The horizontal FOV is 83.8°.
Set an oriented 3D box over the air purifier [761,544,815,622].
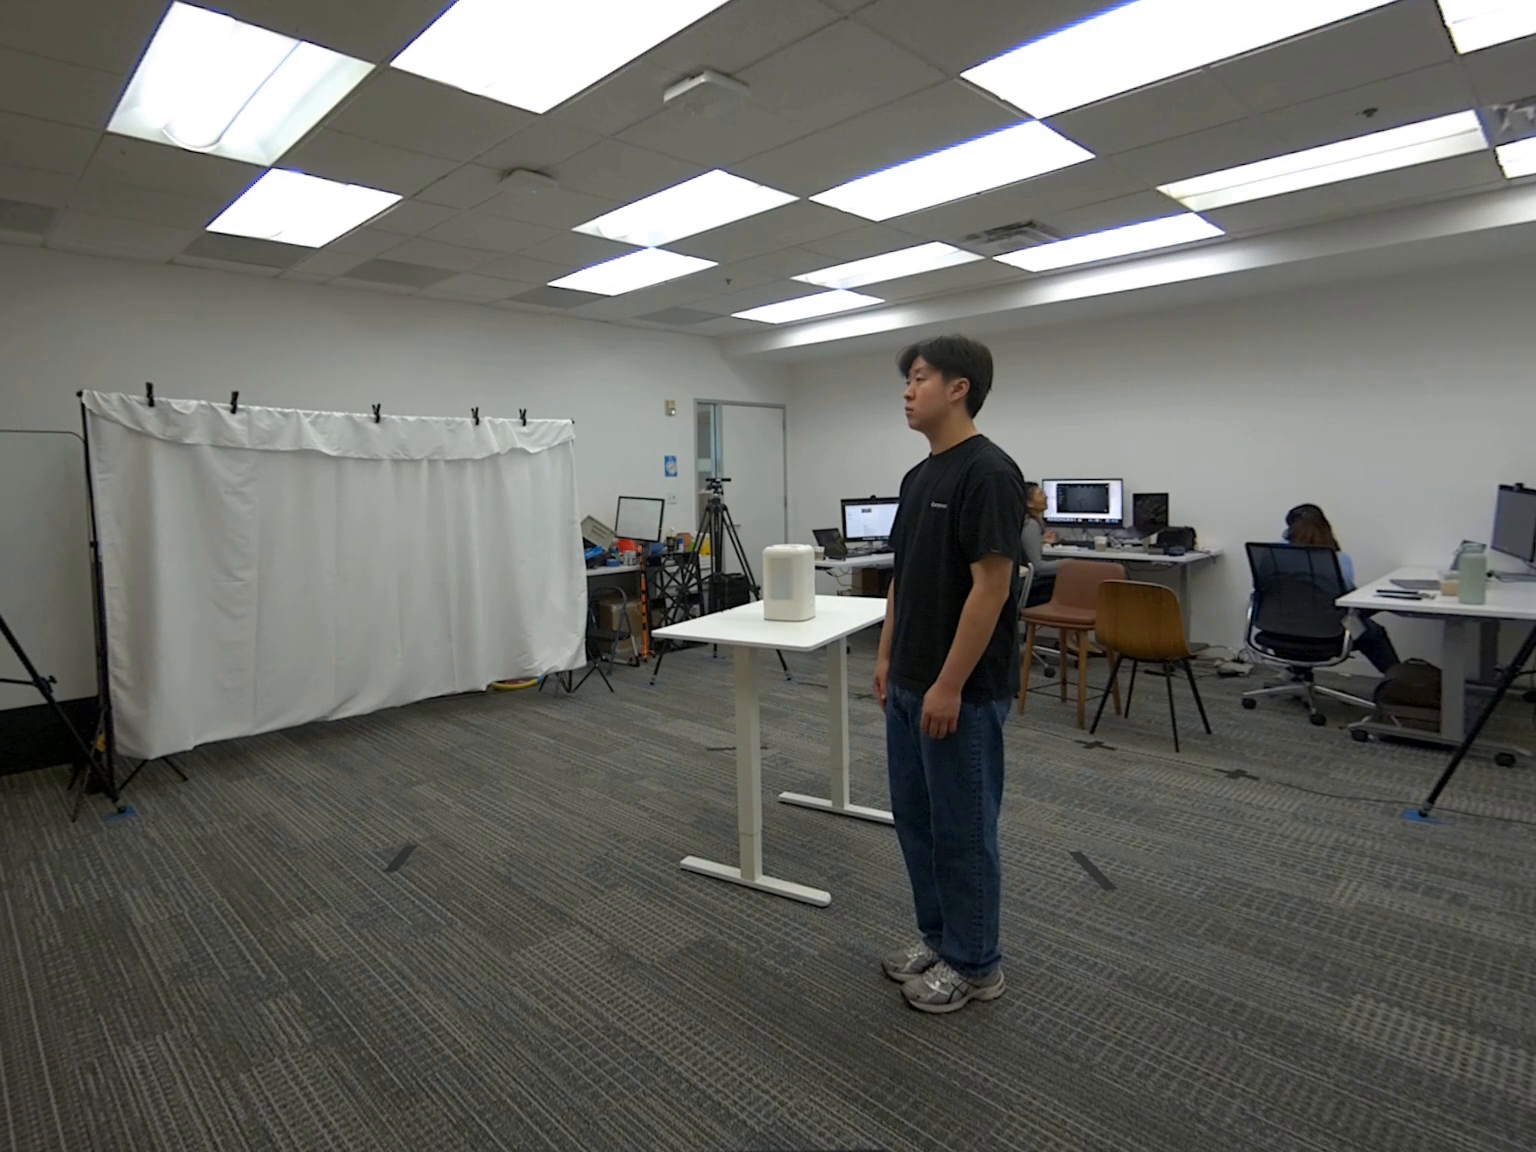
[{"bbox_3d":[0.081,0.023,3.124,0.175,0.264,0.168,0,4,26],"label":"air purifier"}]
